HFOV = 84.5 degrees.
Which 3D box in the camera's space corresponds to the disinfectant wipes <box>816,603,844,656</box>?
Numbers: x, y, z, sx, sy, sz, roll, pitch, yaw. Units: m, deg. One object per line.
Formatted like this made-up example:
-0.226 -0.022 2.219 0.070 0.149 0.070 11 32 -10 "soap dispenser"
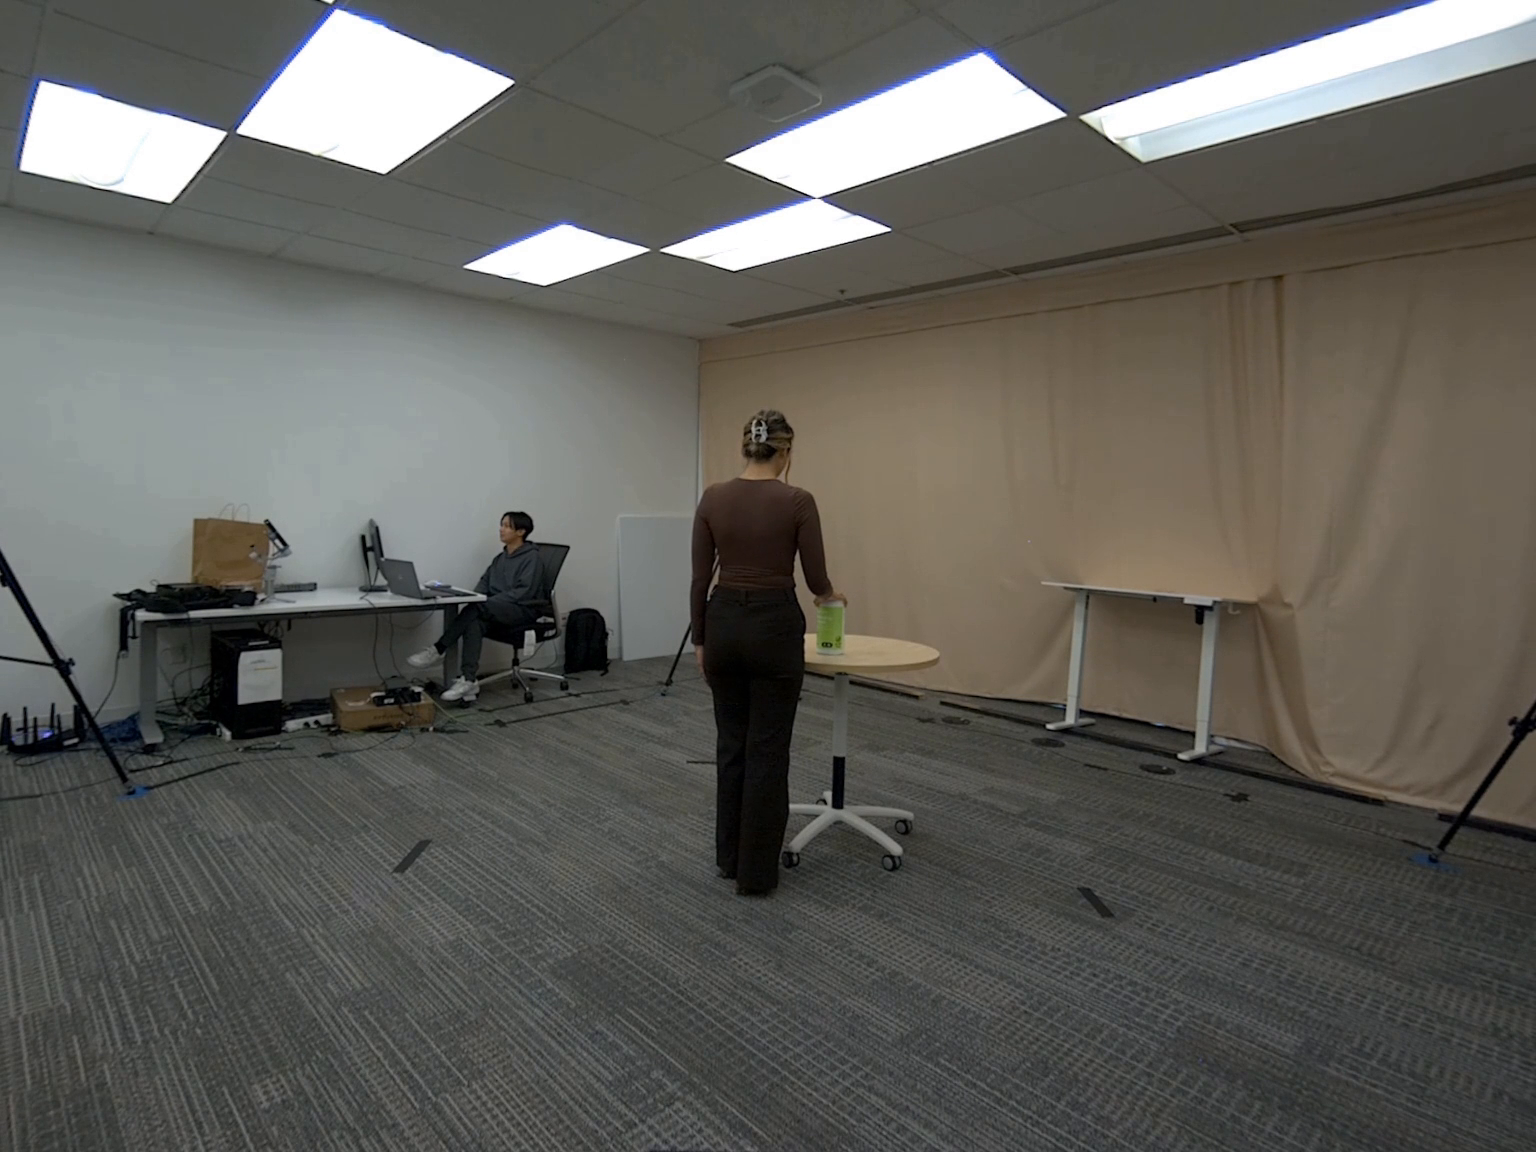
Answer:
0.235 0.195 3.284 0.118 0.217 0.118 -1 4 -1 "disinfectant wipes"
